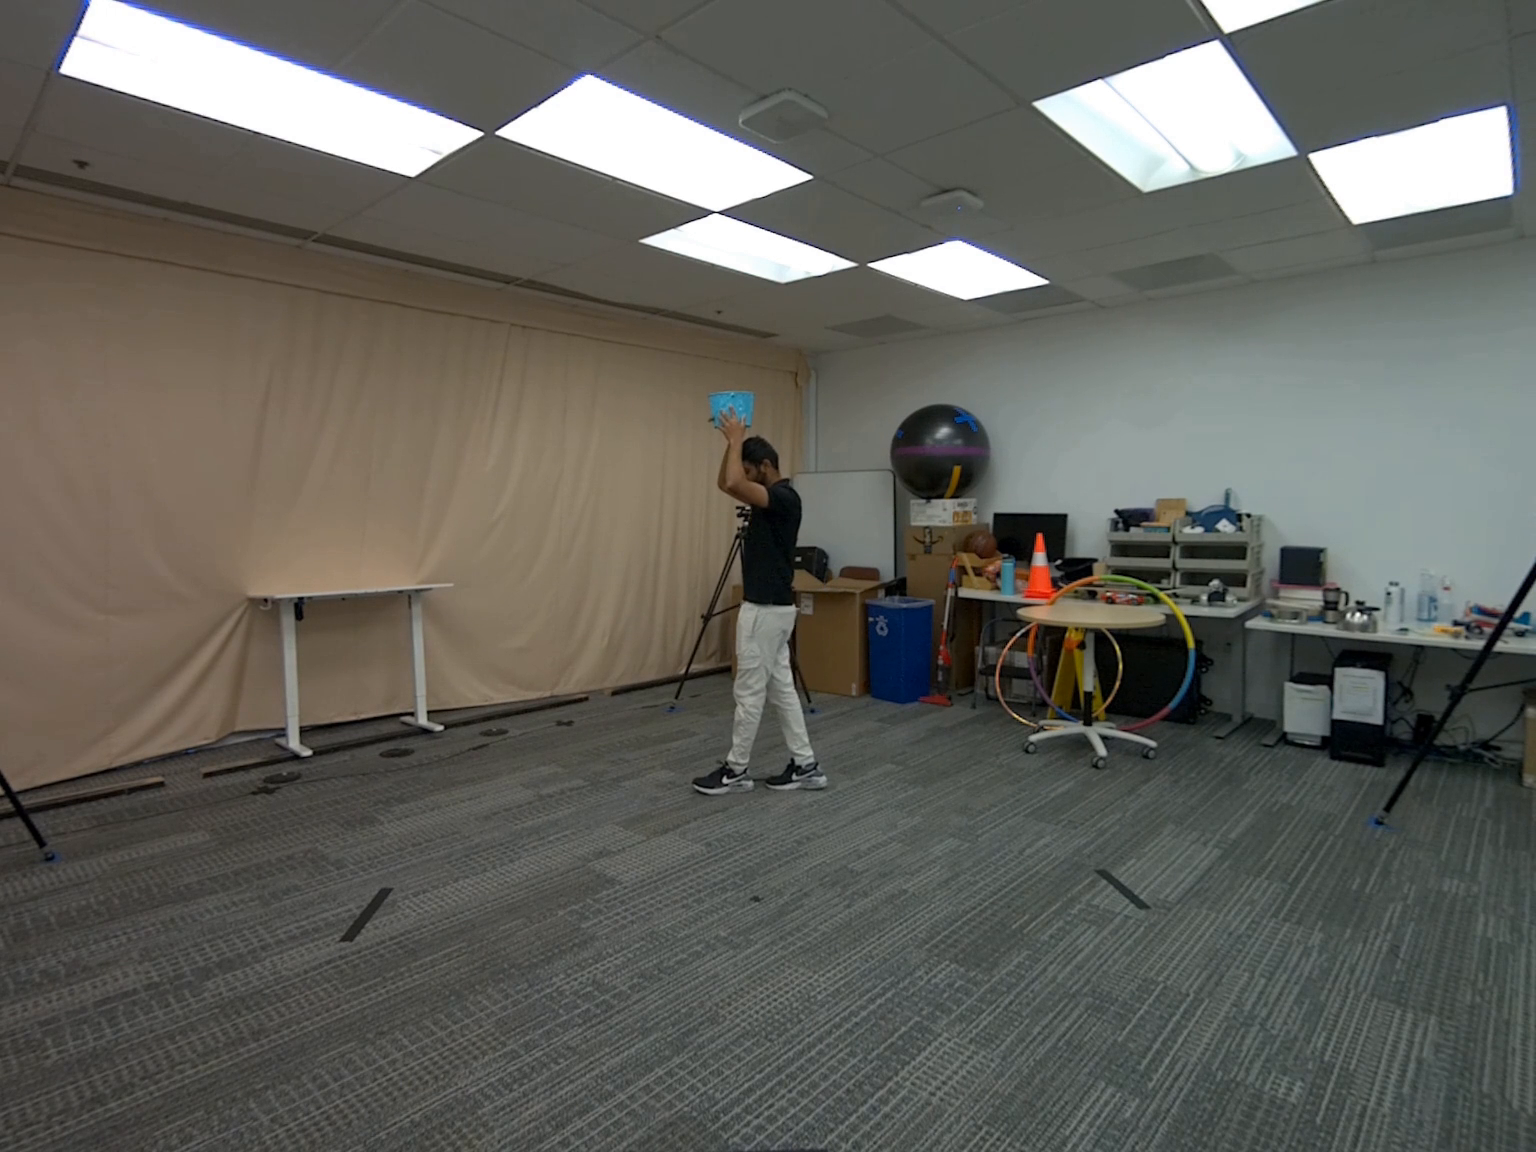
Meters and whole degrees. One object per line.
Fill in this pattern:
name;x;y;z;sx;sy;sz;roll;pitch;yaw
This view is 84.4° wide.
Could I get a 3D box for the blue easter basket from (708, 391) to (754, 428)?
blue easter basket;-0.171;-0.800;4.085;0.243;0.156;0.244;-3;2;-2
